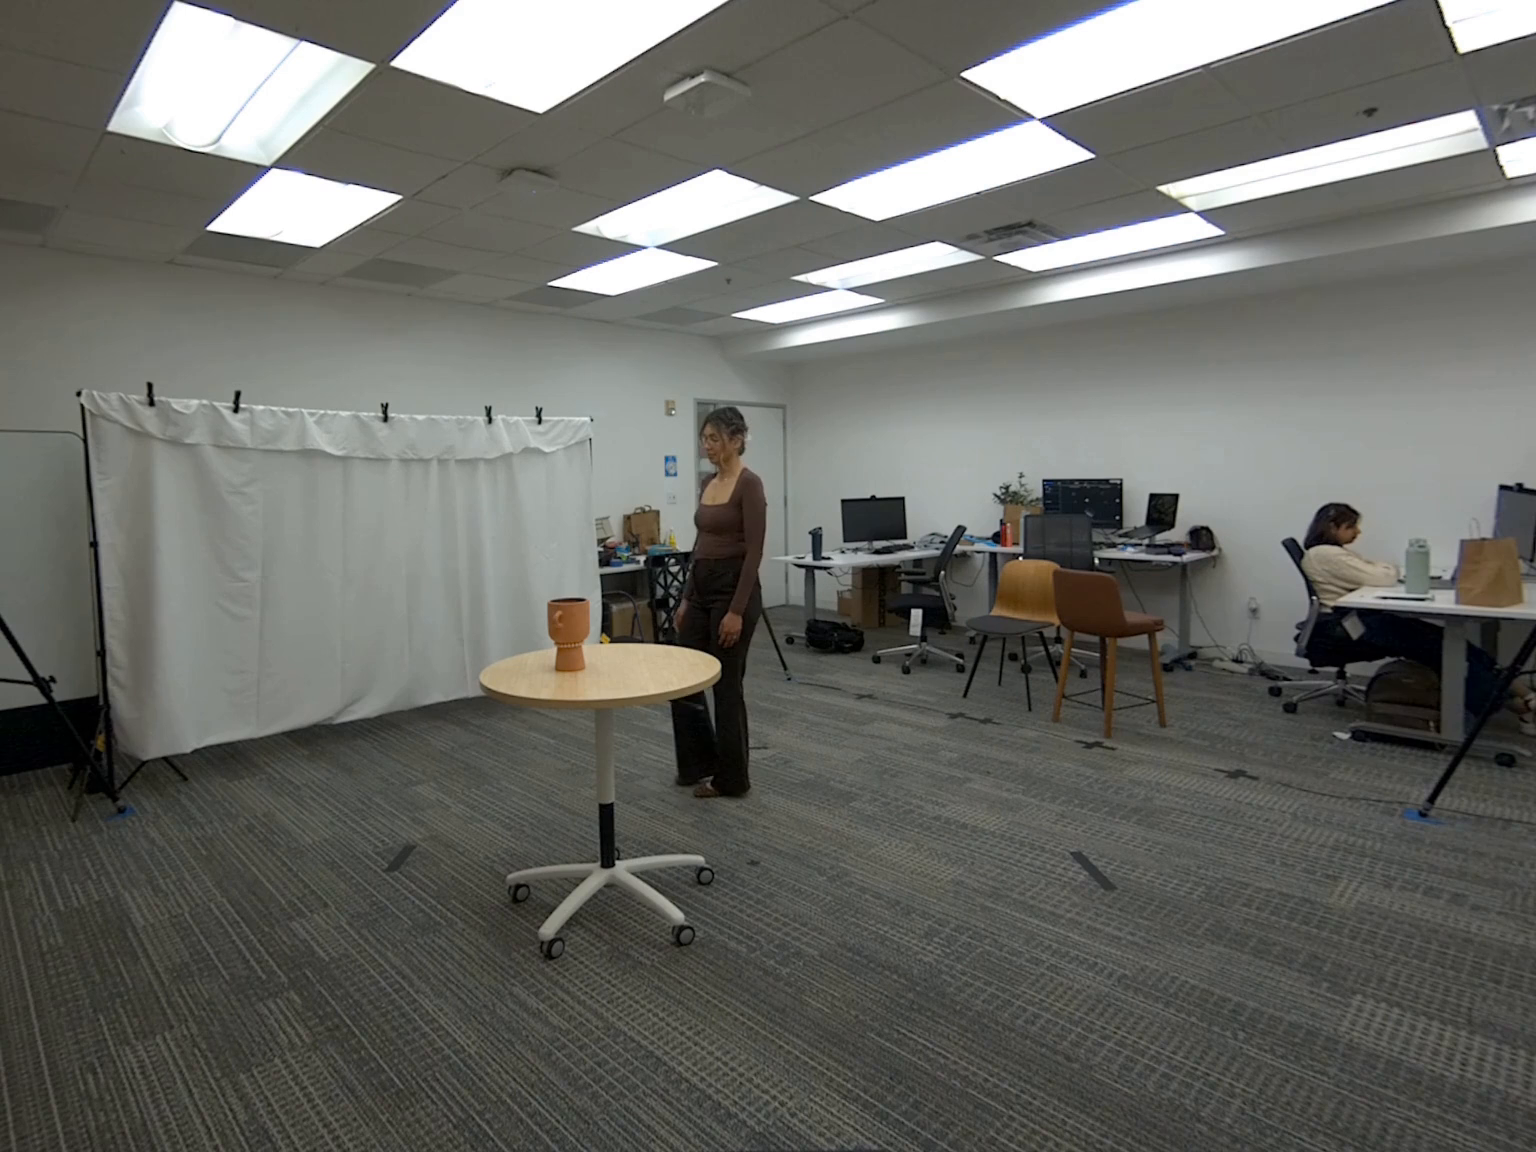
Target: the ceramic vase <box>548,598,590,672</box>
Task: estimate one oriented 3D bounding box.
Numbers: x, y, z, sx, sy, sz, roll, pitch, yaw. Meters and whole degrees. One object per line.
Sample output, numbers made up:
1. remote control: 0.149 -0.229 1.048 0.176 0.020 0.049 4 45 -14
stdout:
1. ceramic vase: -0.634 0.188 2.739 0.155 0.219 0.139 -4 5 -38
